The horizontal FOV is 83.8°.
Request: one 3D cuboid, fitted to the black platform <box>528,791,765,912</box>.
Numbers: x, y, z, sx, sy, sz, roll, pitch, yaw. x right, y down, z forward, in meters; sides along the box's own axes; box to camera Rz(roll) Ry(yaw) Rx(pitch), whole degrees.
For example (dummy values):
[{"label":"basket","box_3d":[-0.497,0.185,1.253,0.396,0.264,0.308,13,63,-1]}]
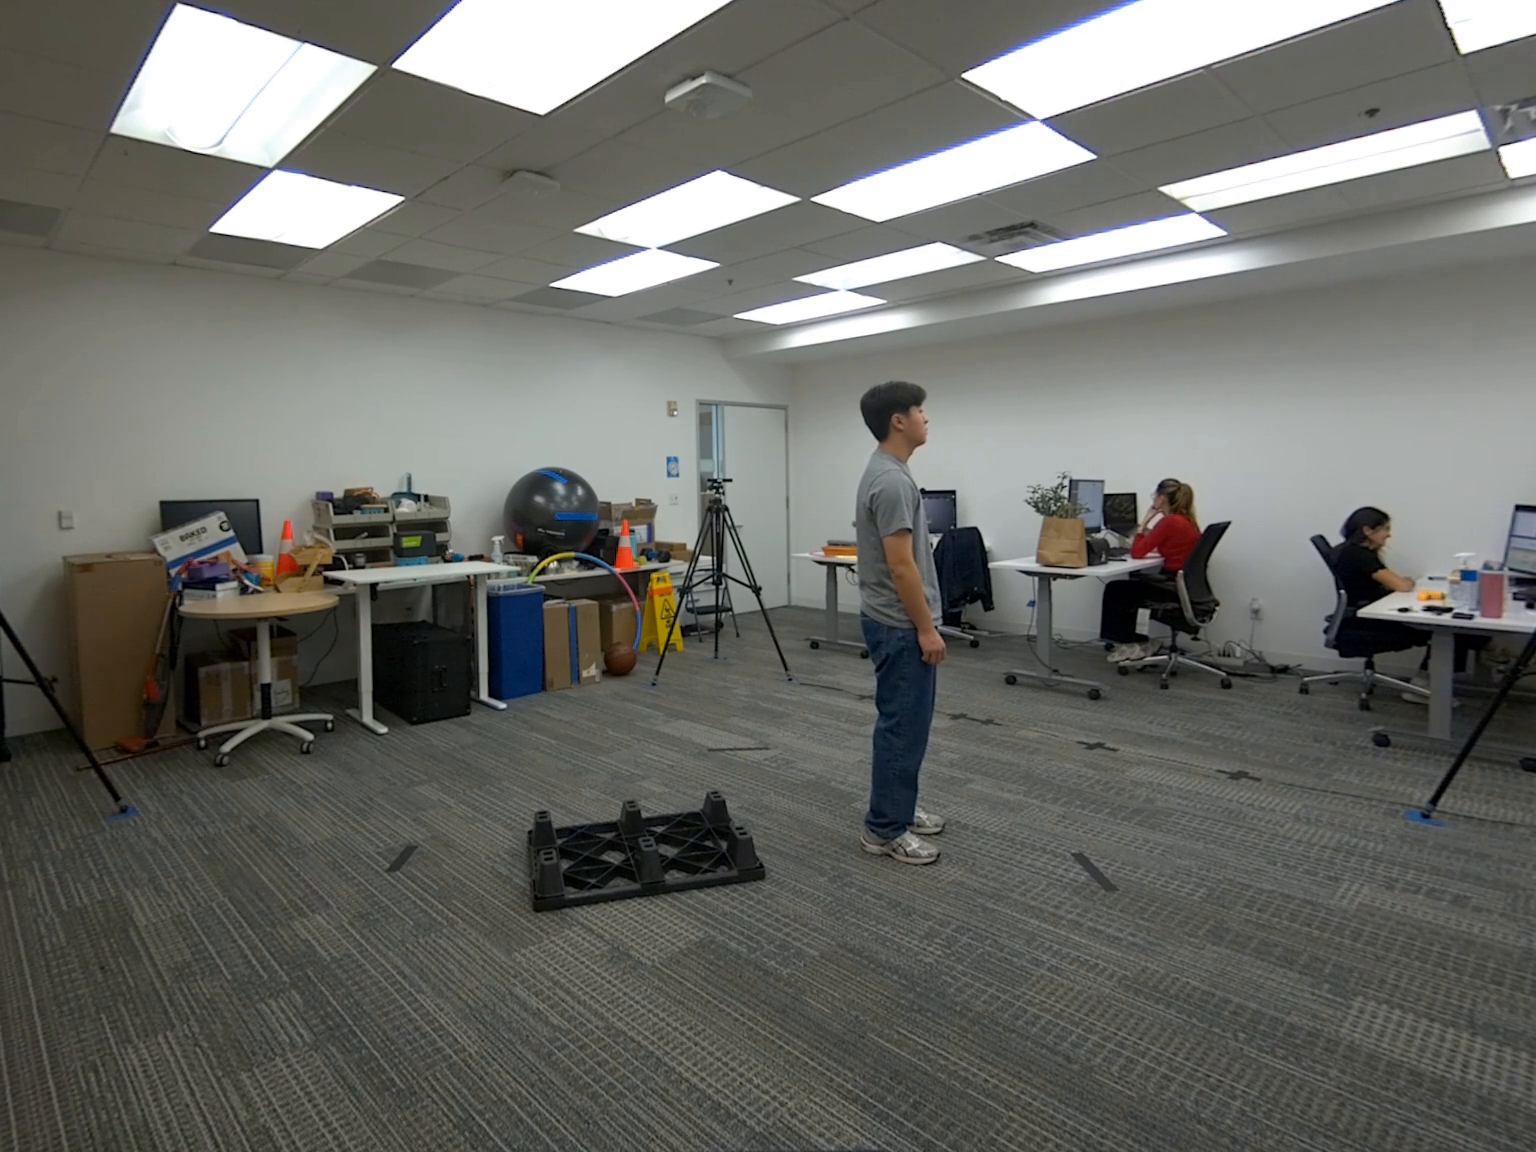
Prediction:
[{"label":"black platform","box_3d":[-0.467,0.978,3.165,0.794,0.142,0.617,-3,7,-16]}]
